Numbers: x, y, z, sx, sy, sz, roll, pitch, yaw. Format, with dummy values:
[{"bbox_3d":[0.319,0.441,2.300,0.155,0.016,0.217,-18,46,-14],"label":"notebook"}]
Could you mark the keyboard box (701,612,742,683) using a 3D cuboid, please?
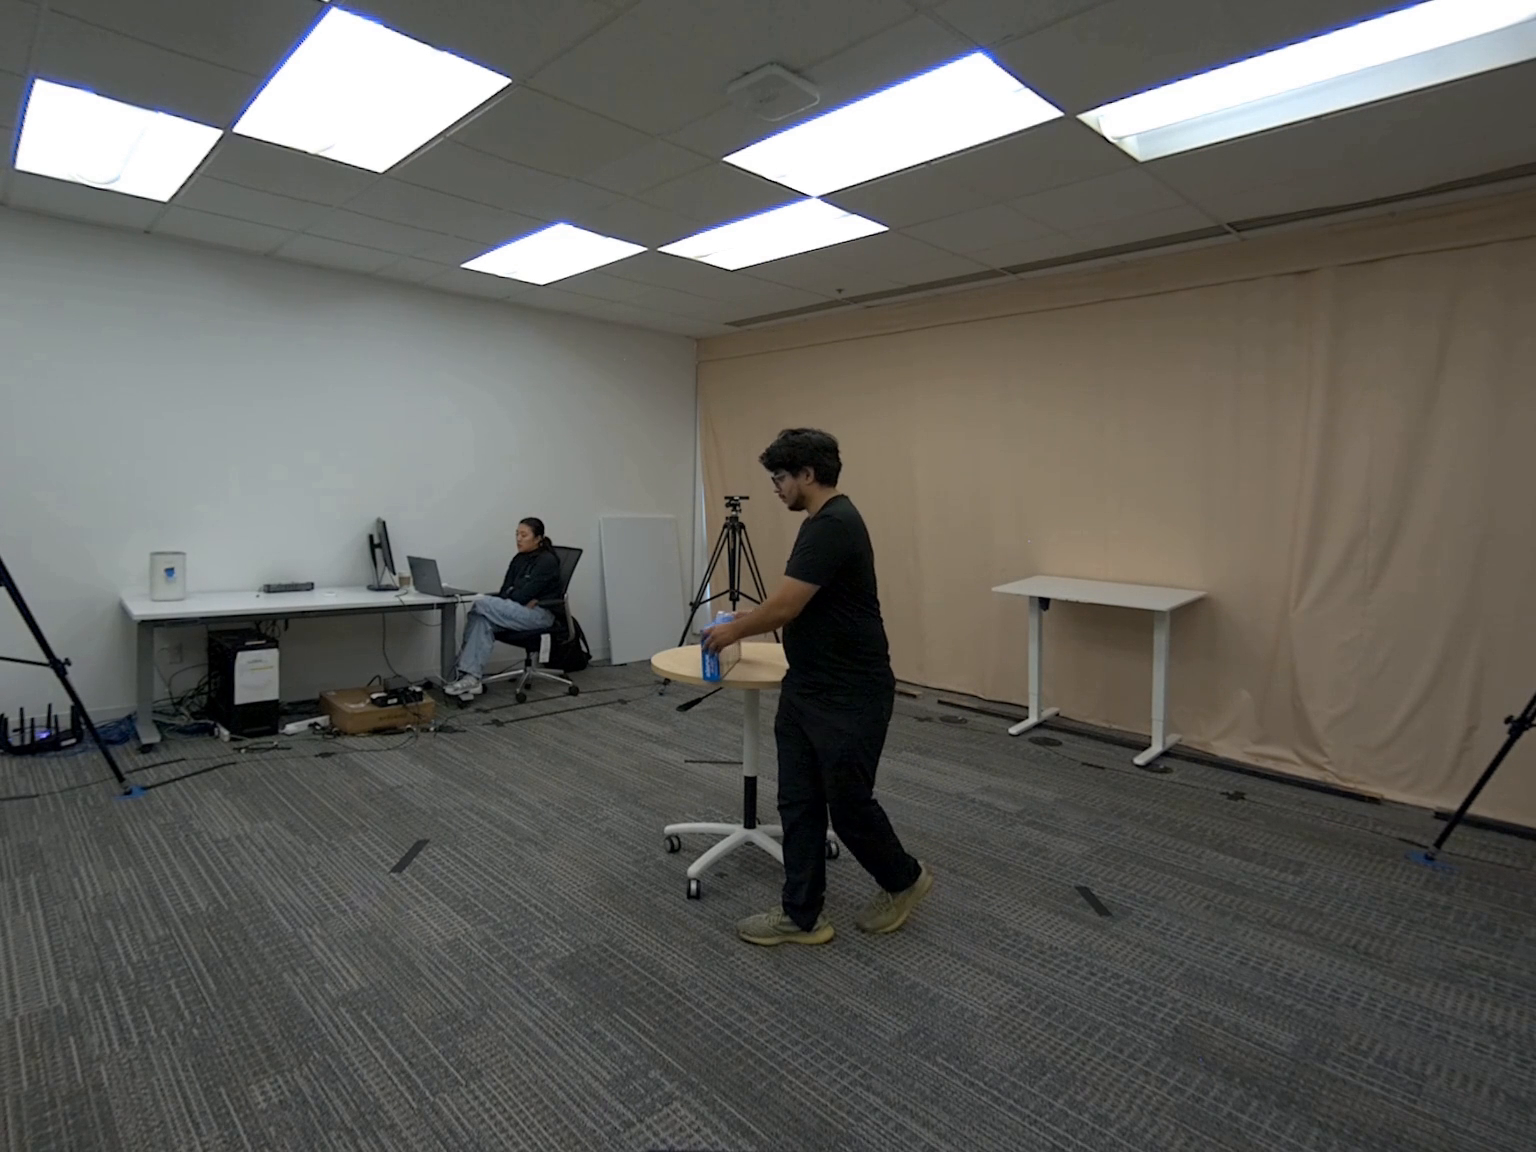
[{"bbox_3d":[-0.167,0.243,2.986,0.059,0.175,0.435,-3,4,8],"label":"keyboard box"}]
